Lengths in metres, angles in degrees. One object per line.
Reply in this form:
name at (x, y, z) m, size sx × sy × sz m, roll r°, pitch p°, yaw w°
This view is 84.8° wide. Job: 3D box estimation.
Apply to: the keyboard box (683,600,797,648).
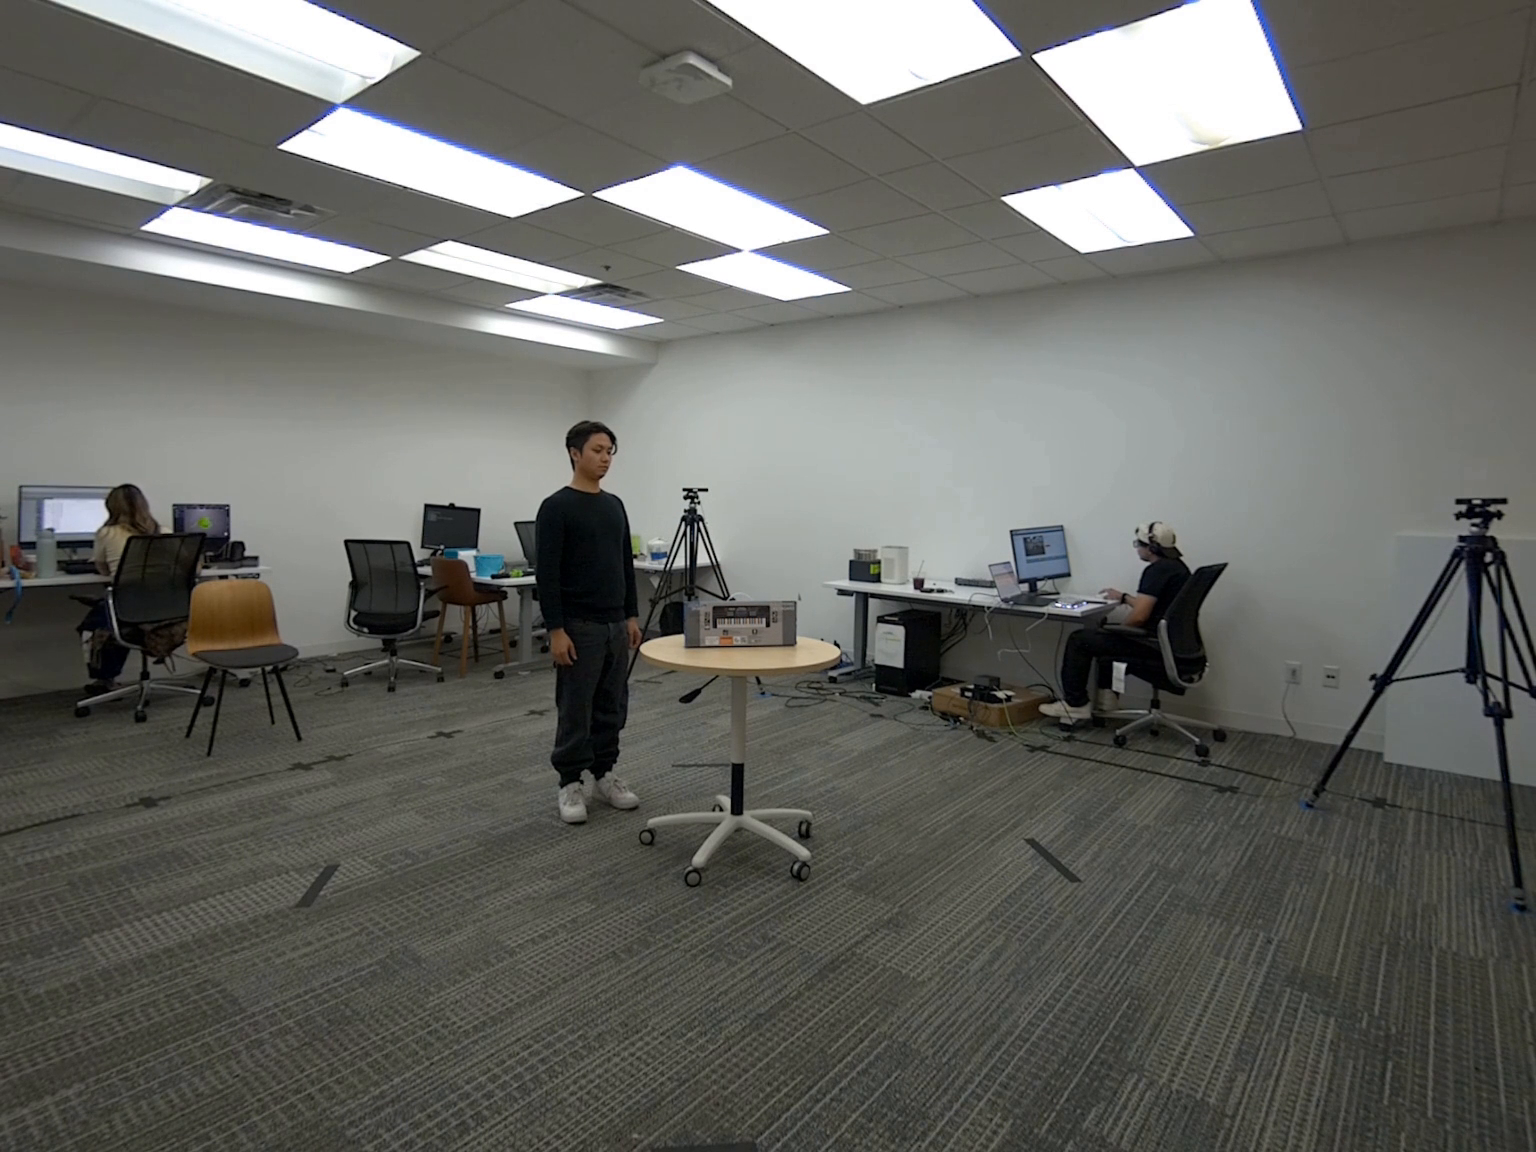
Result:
keyboard box at (-0.112, 0.181, 3.304) m, size 0.433 × 0.176 × 0.059 m, roll -1°, pitch -2°, yaw -8°
